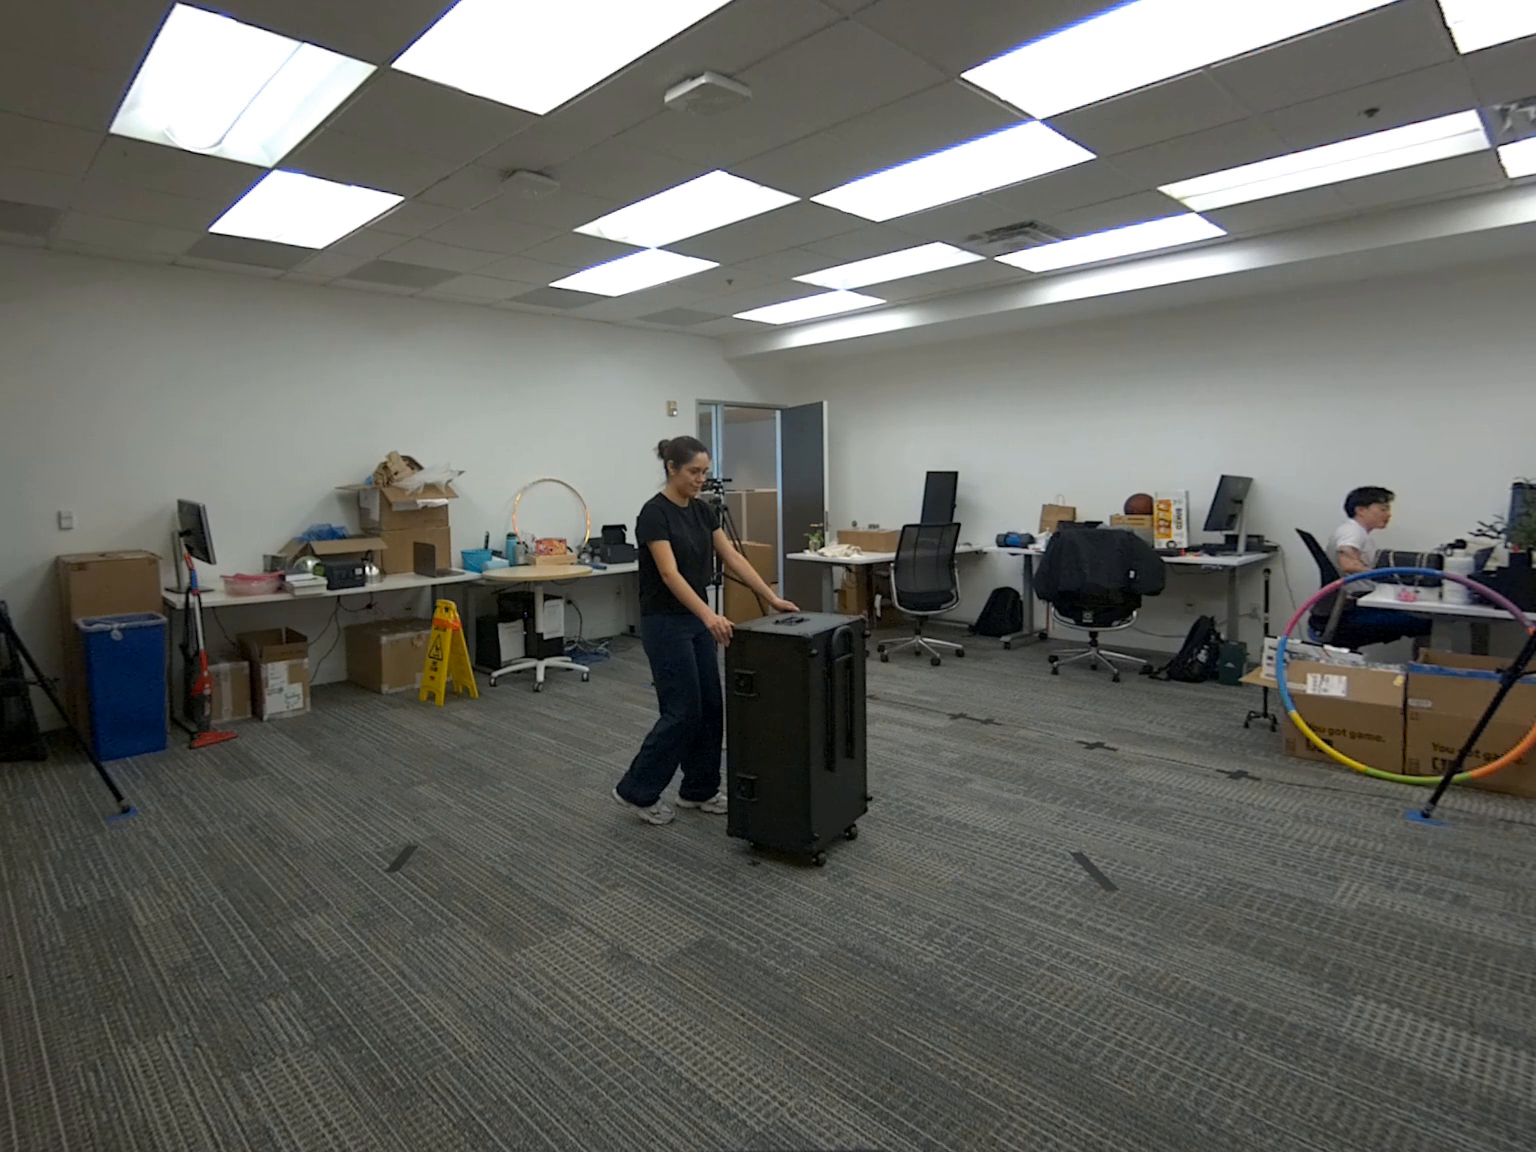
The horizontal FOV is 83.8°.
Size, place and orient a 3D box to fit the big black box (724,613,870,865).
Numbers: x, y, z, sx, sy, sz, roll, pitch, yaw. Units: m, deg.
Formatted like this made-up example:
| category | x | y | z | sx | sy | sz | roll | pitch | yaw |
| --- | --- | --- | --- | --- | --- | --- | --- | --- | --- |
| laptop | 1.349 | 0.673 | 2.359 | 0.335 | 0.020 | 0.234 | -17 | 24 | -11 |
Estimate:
| category | x | y | z | sx | sy | sz | roll | pitch | yaw |
| --- | --- | --- | --- | --- | --- | --- | --- | --- | --- |
| big black box | 0.123 | 0.596 | 3.270 | 0.407 | 0.858 | 0.509 | 2 | 5 | 32 |
